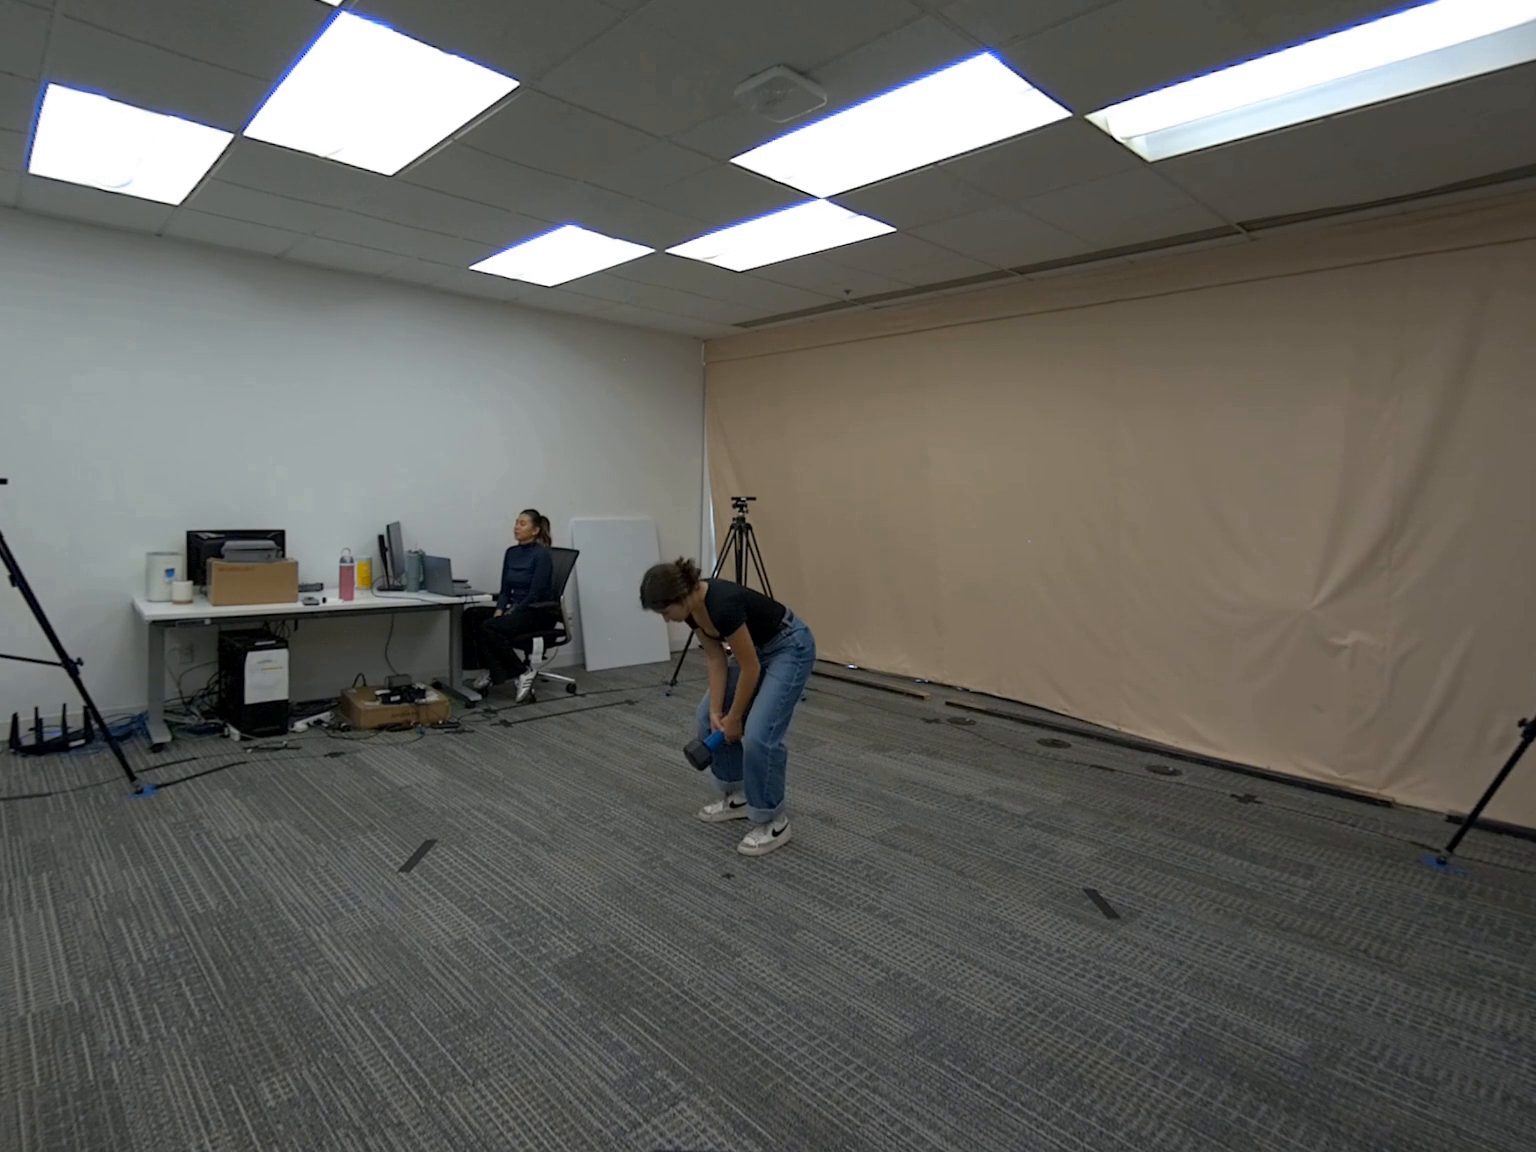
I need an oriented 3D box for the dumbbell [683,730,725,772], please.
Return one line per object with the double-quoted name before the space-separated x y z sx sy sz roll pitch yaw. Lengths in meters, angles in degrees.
"dumbbell" -0.220 0.667 3.468 0.292 0.124 0.108 -32 -10 -23
